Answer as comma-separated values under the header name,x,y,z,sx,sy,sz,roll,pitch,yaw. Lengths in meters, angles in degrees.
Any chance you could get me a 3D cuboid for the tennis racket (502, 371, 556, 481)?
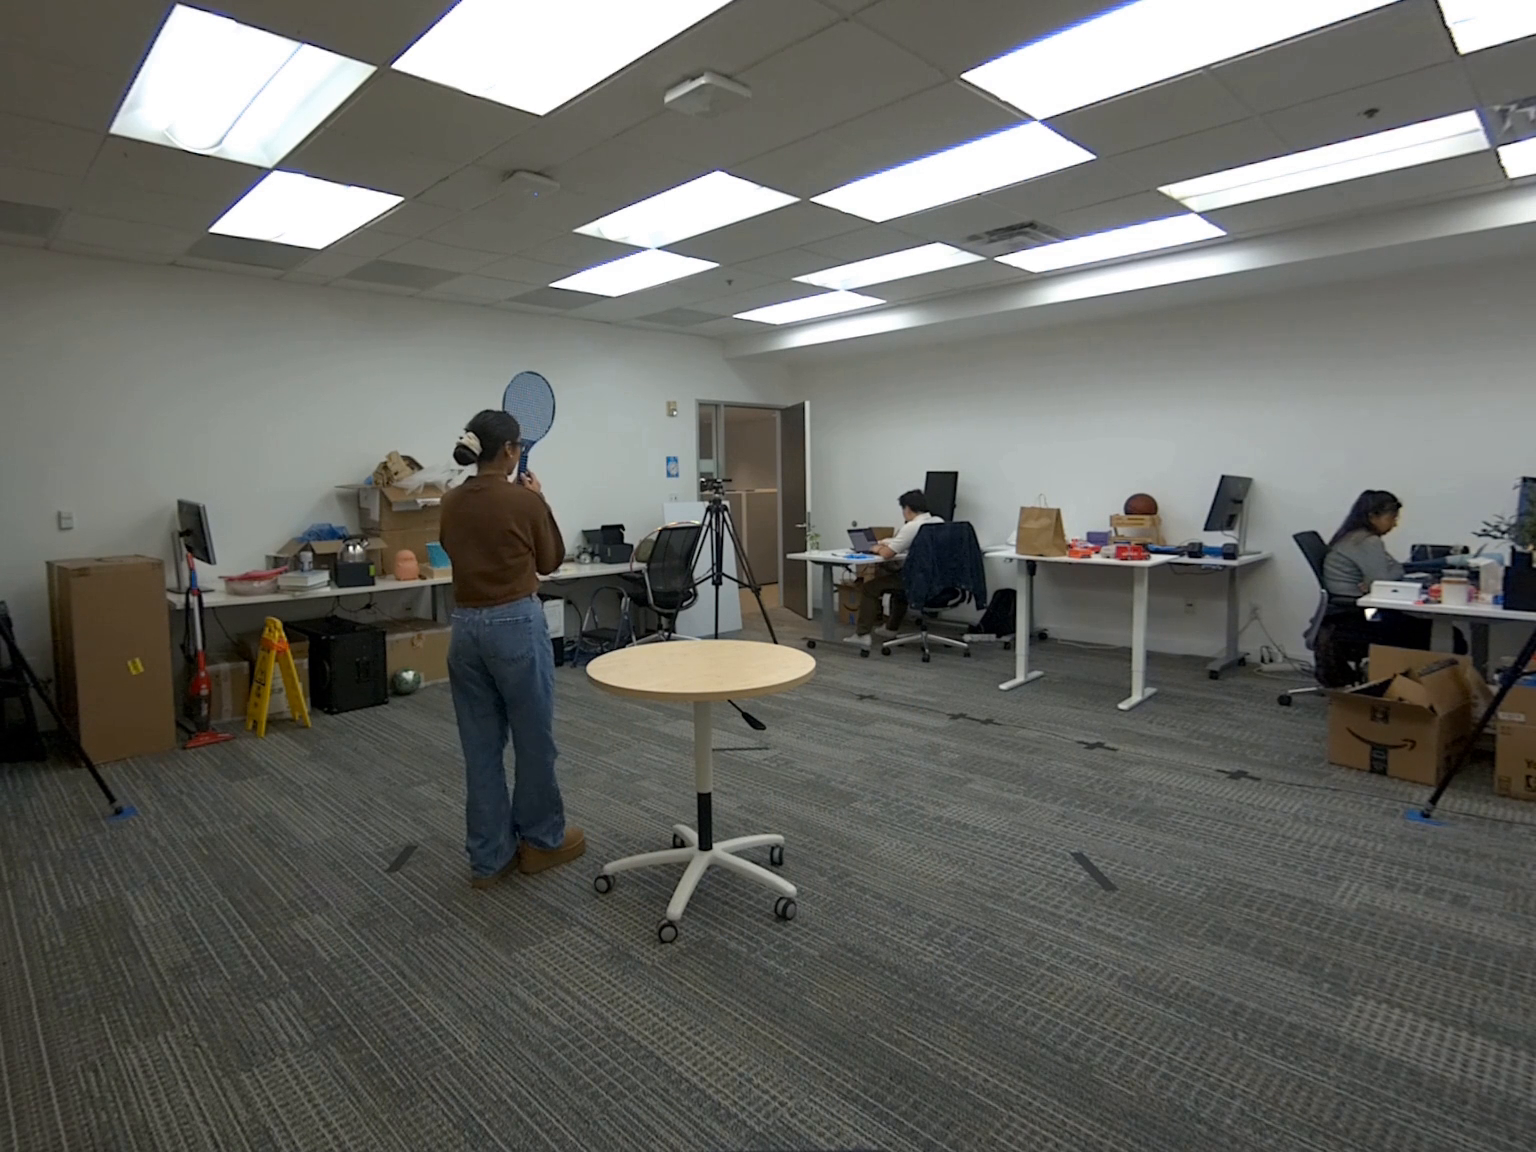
name,x,y,z,sx,sy,sz,roll,pitch,yaw
tennis racket,-0.891,-0.546,3.159,0.207,0.435,0.032,7,-7,-44
